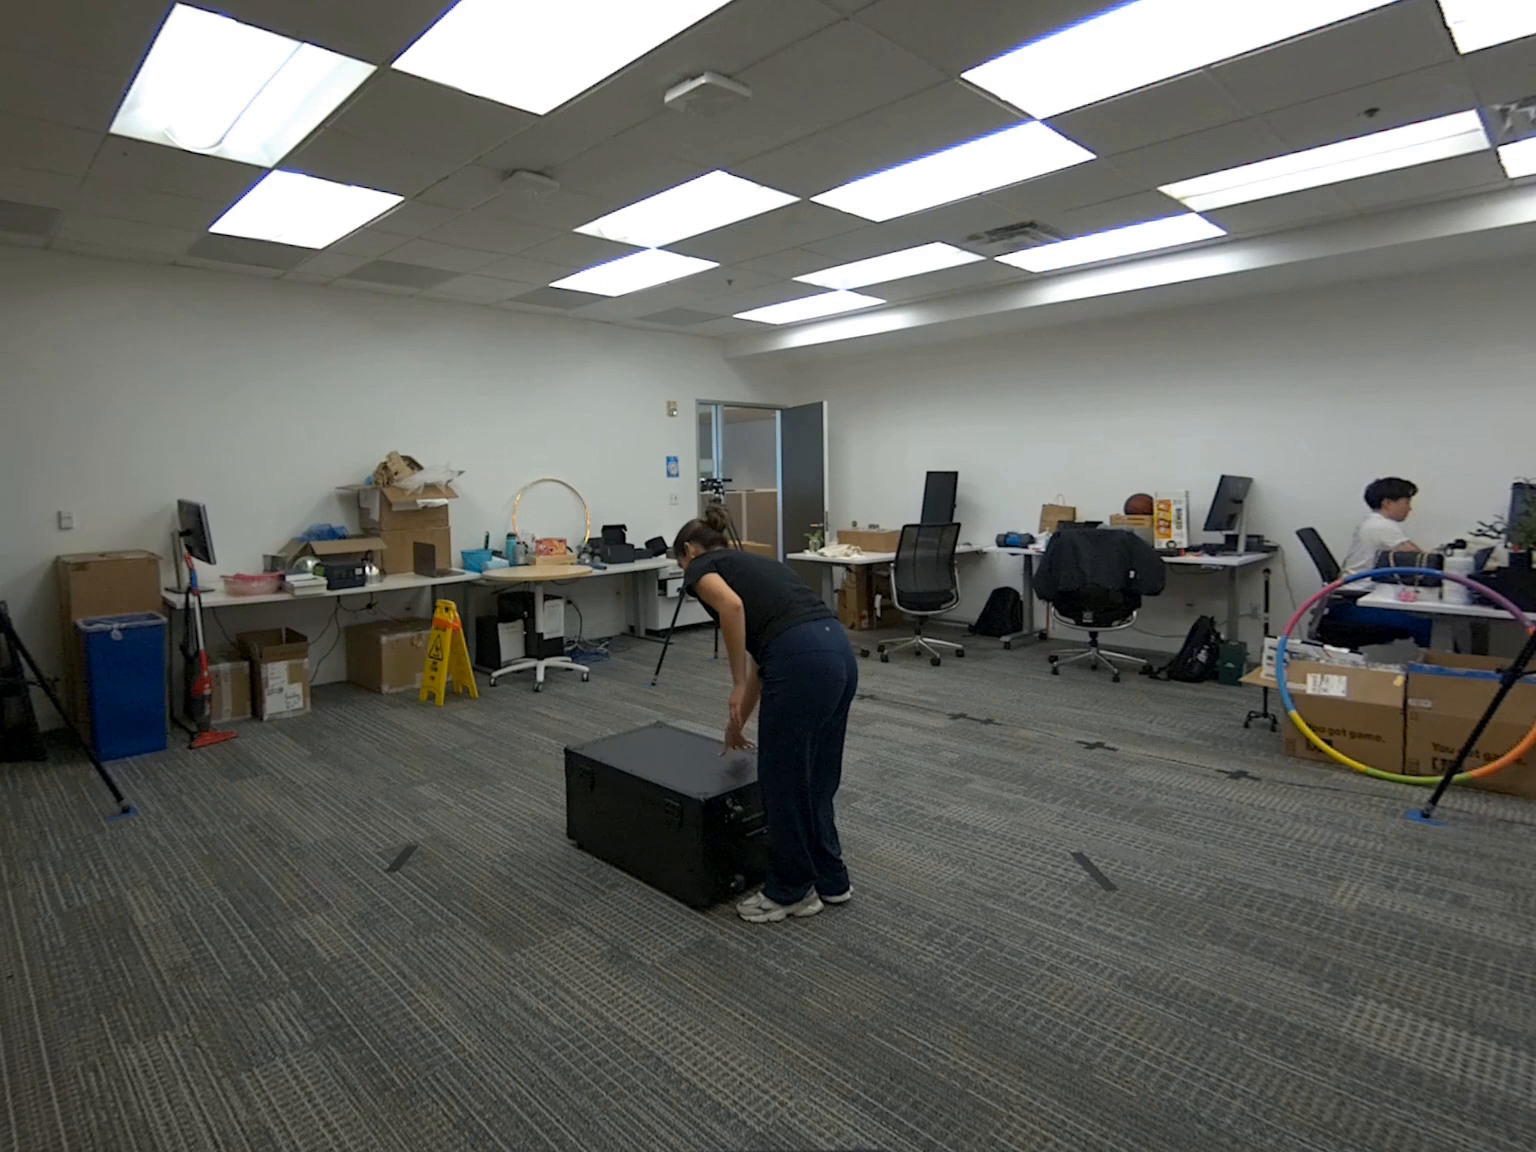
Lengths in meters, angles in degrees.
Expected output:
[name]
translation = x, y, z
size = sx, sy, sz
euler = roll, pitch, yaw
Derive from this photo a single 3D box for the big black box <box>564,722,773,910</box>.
[big black box]
translation = -0.305, 0.835, 3.160
size = 0.889, 0.394, 0.507
euler = 6, 9, 44
